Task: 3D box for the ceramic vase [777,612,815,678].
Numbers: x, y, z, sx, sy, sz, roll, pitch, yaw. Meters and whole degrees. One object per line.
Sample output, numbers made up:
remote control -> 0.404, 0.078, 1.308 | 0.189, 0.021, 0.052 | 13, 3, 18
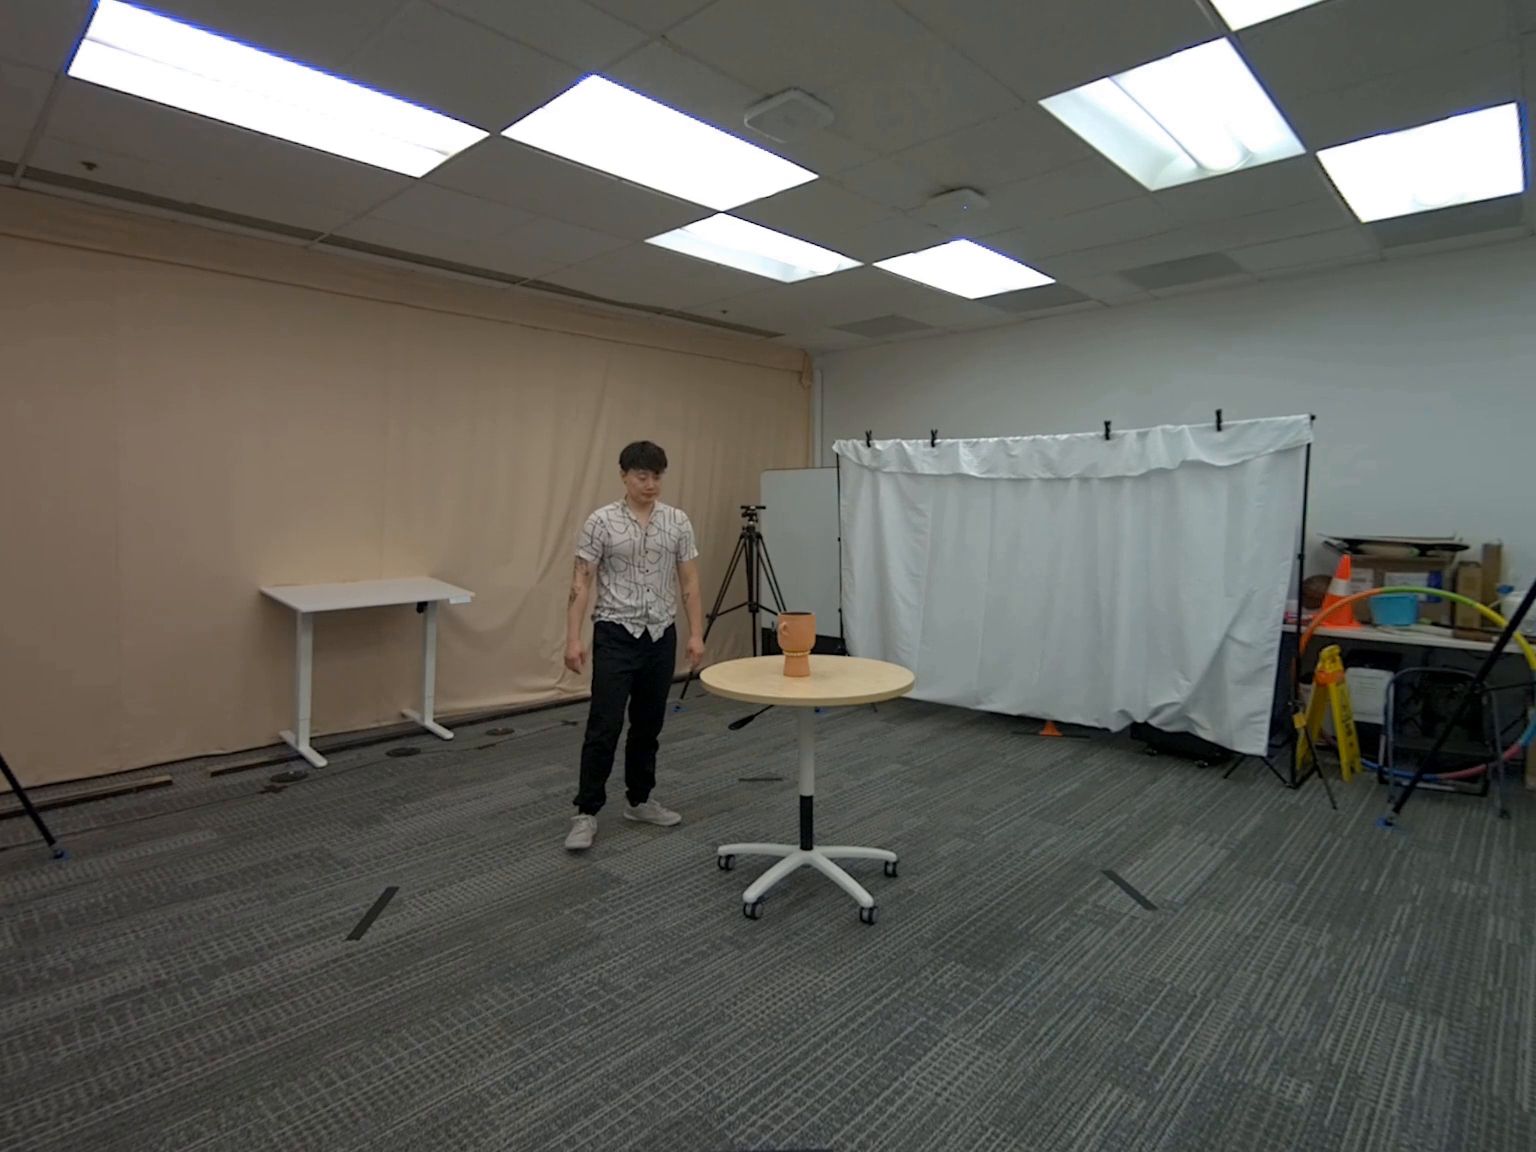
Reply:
ceramic vase -> 0.107, 0.247, 3.023 | 0.157, 0.219, 0.136 | 0, 2, -11
